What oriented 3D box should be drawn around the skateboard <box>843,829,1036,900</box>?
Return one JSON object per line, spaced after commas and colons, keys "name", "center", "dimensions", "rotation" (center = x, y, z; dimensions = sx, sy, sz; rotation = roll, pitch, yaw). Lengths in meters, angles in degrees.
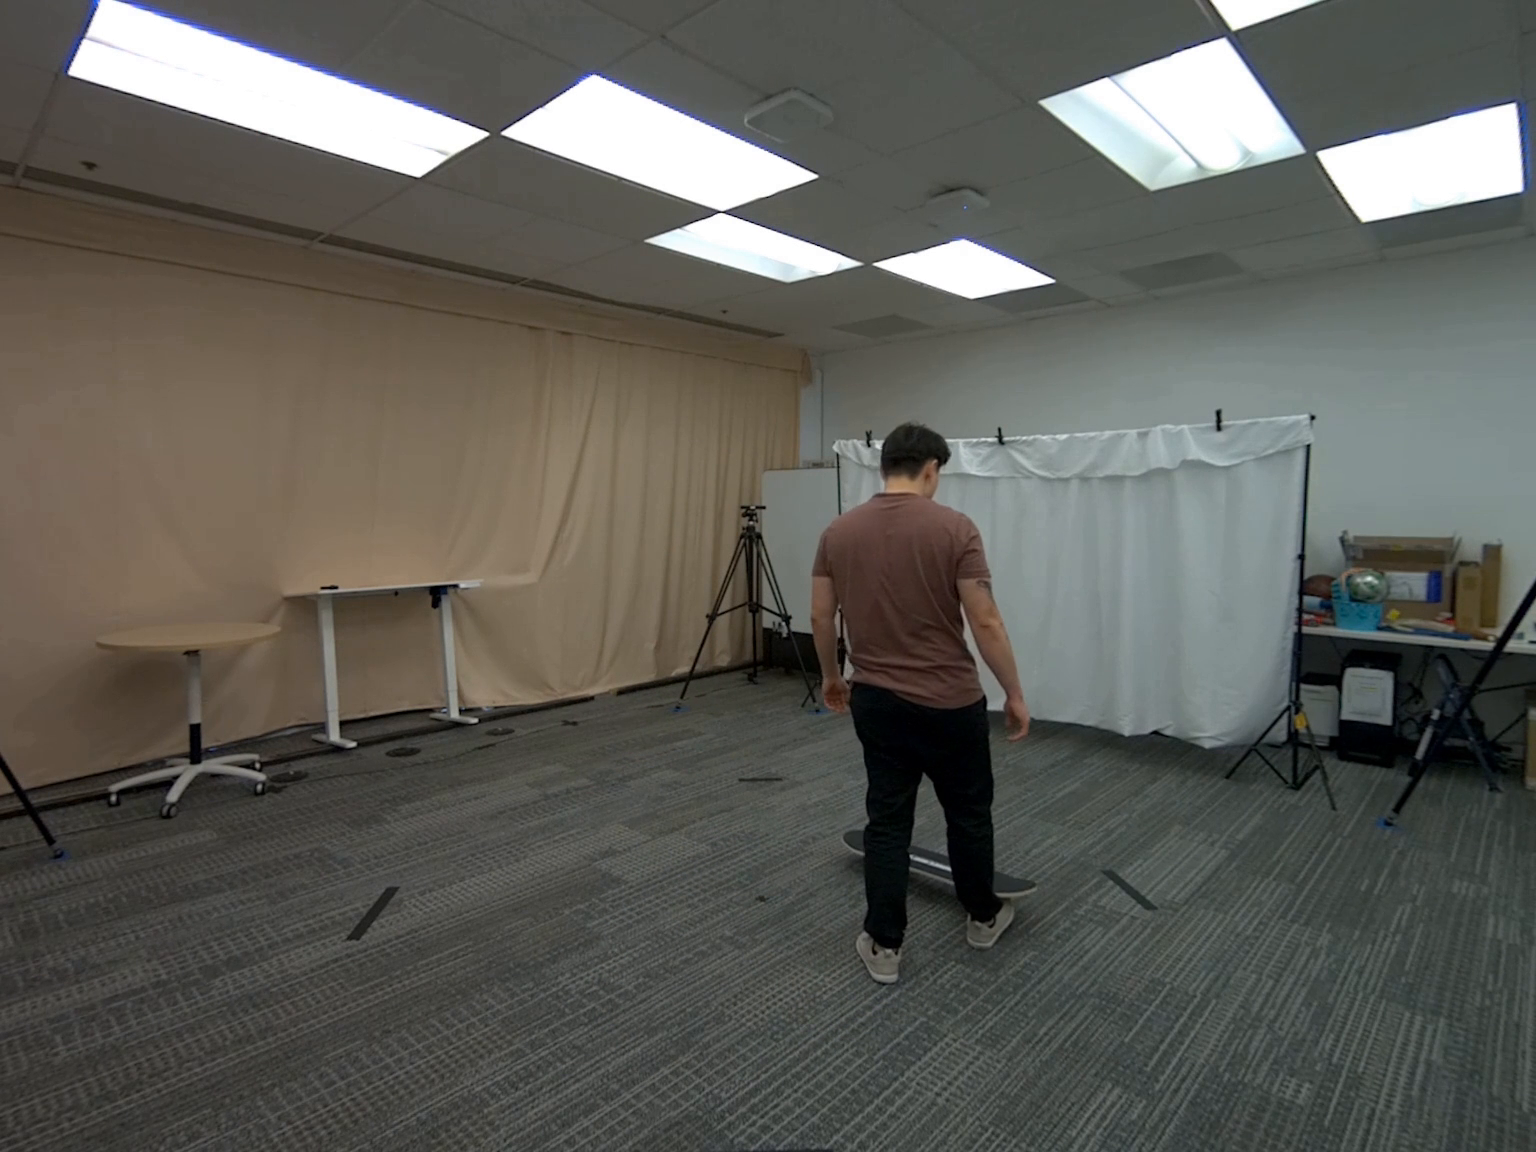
{"name": "skateboard", "center": [0.605, 1.070, 3.041], "dimensions": [0.187, 0.110, 0.811], "rotation": [-4, 3, -42]}
